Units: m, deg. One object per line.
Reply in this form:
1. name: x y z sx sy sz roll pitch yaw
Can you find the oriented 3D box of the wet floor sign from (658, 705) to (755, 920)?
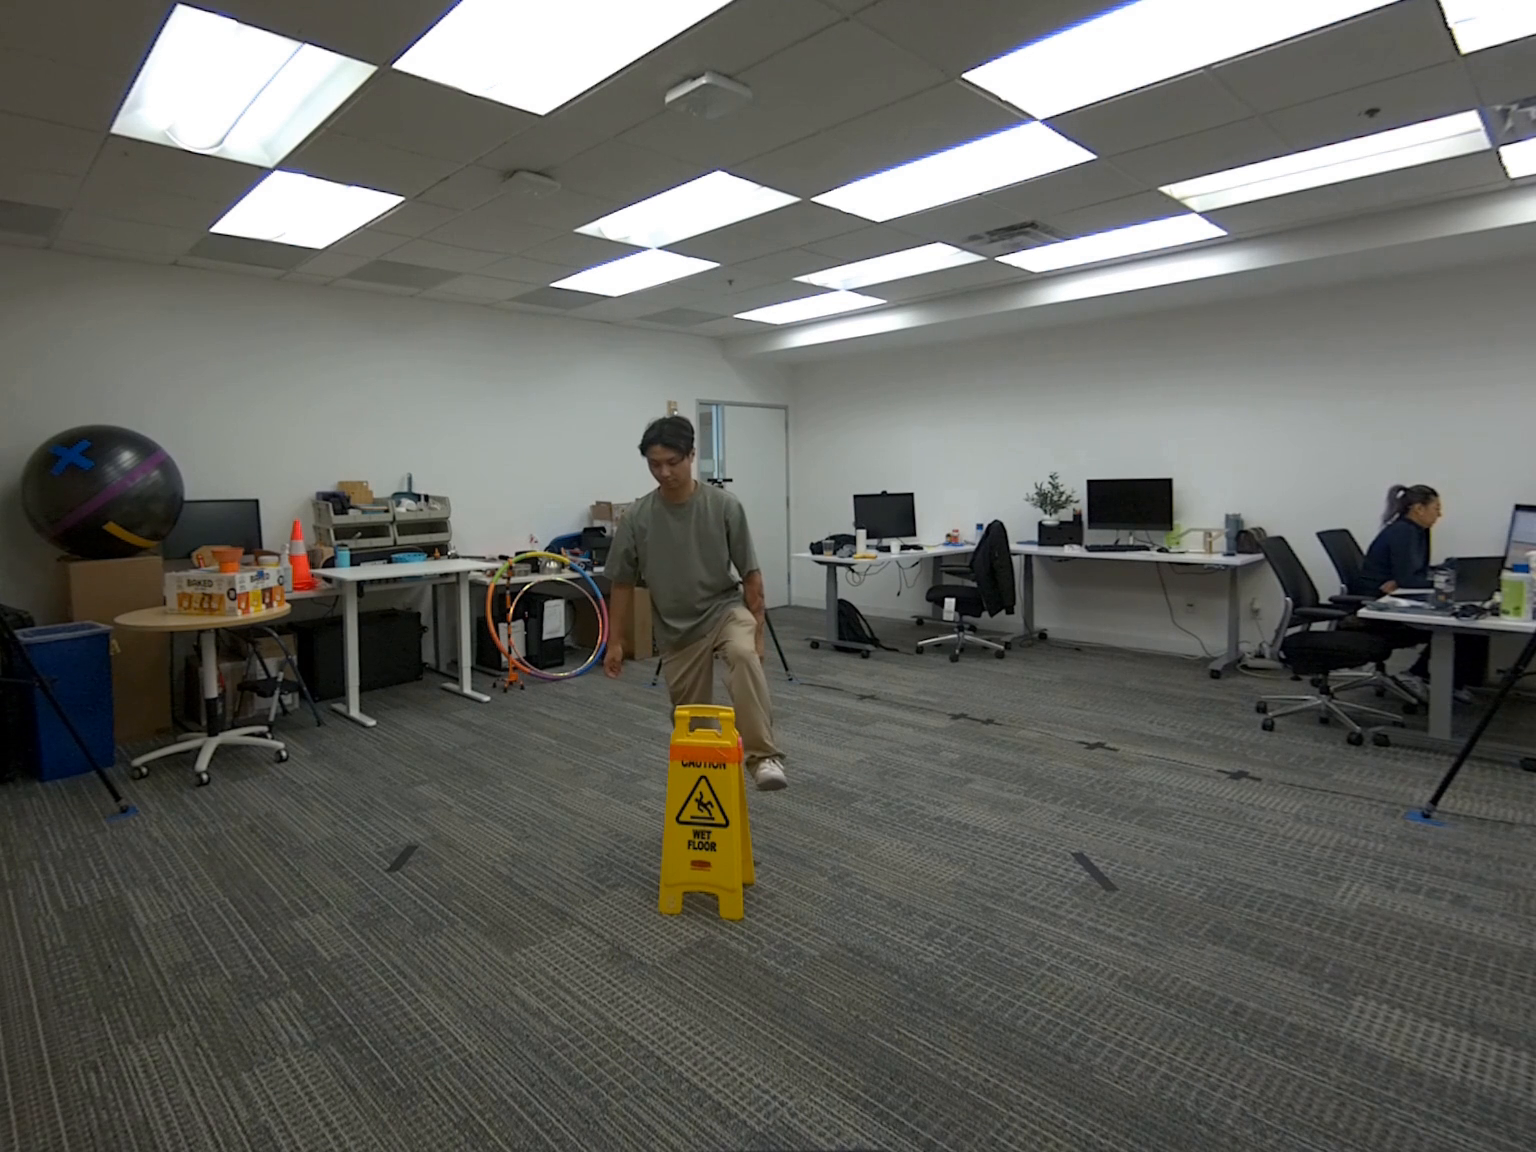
1. wet floor sign: -0.194 0.755 2.833 0.285 0.644 0.288 -2 4 8
